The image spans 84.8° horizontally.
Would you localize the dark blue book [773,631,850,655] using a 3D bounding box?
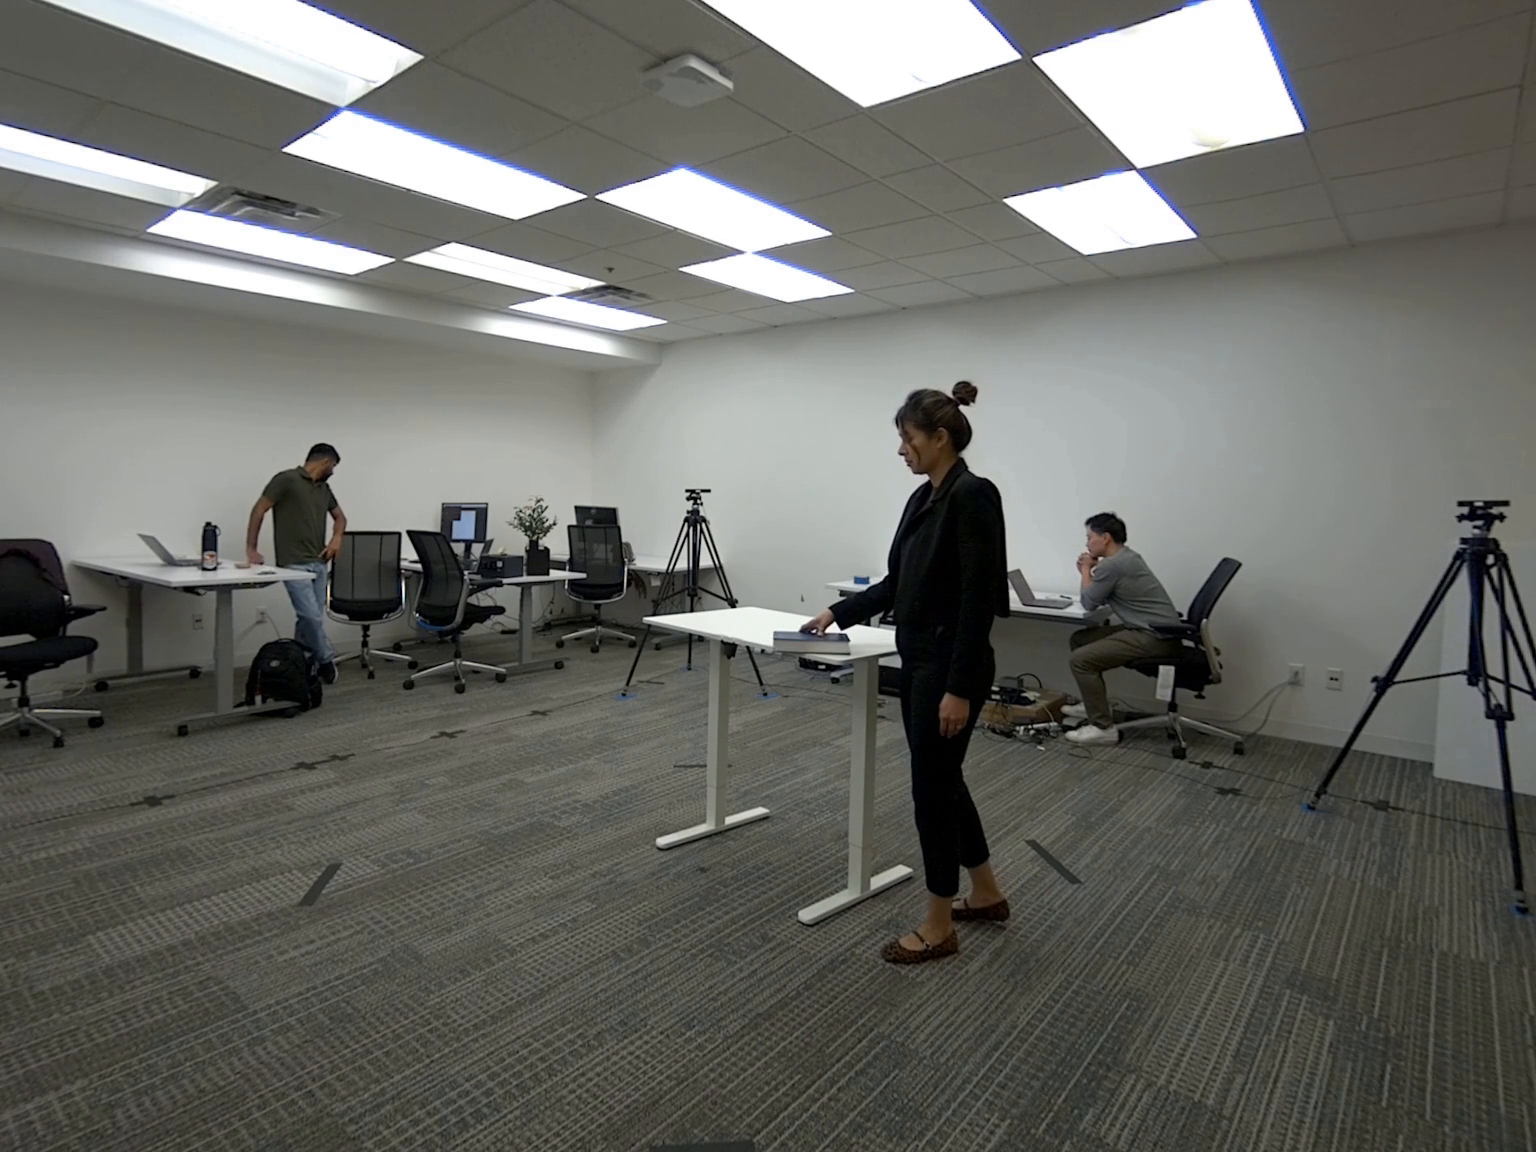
[{"bbox_3d":[0.146,0.216,2.769,0.246,0.045,0.163,1,5,4],"label":"dark blue book"}]
